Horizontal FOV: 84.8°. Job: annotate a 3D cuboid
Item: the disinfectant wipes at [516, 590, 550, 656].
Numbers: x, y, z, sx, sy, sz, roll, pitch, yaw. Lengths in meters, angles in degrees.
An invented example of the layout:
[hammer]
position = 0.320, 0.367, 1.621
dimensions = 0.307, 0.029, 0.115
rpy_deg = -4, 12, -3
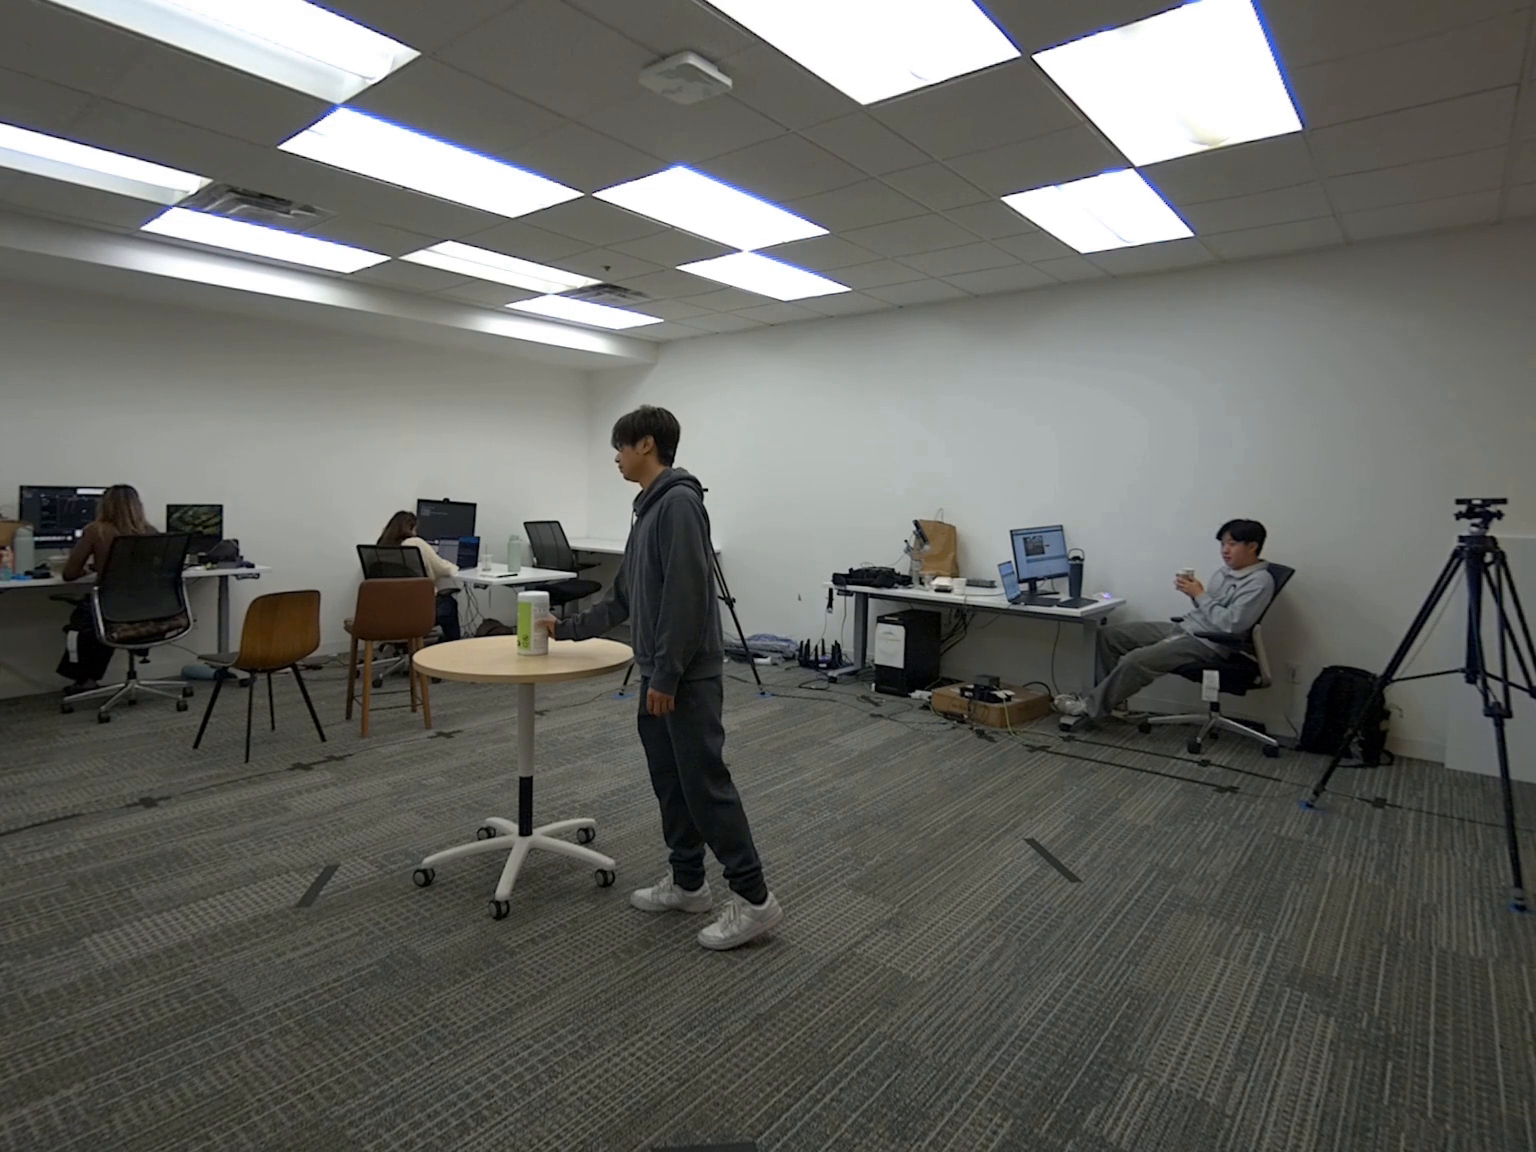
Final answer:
[disinfectant wipes]
position = -0.843, 0.166, 3.015
dimensions = 0.117, 0.217, 0.118
rpy_deg = 2, 4, -2
